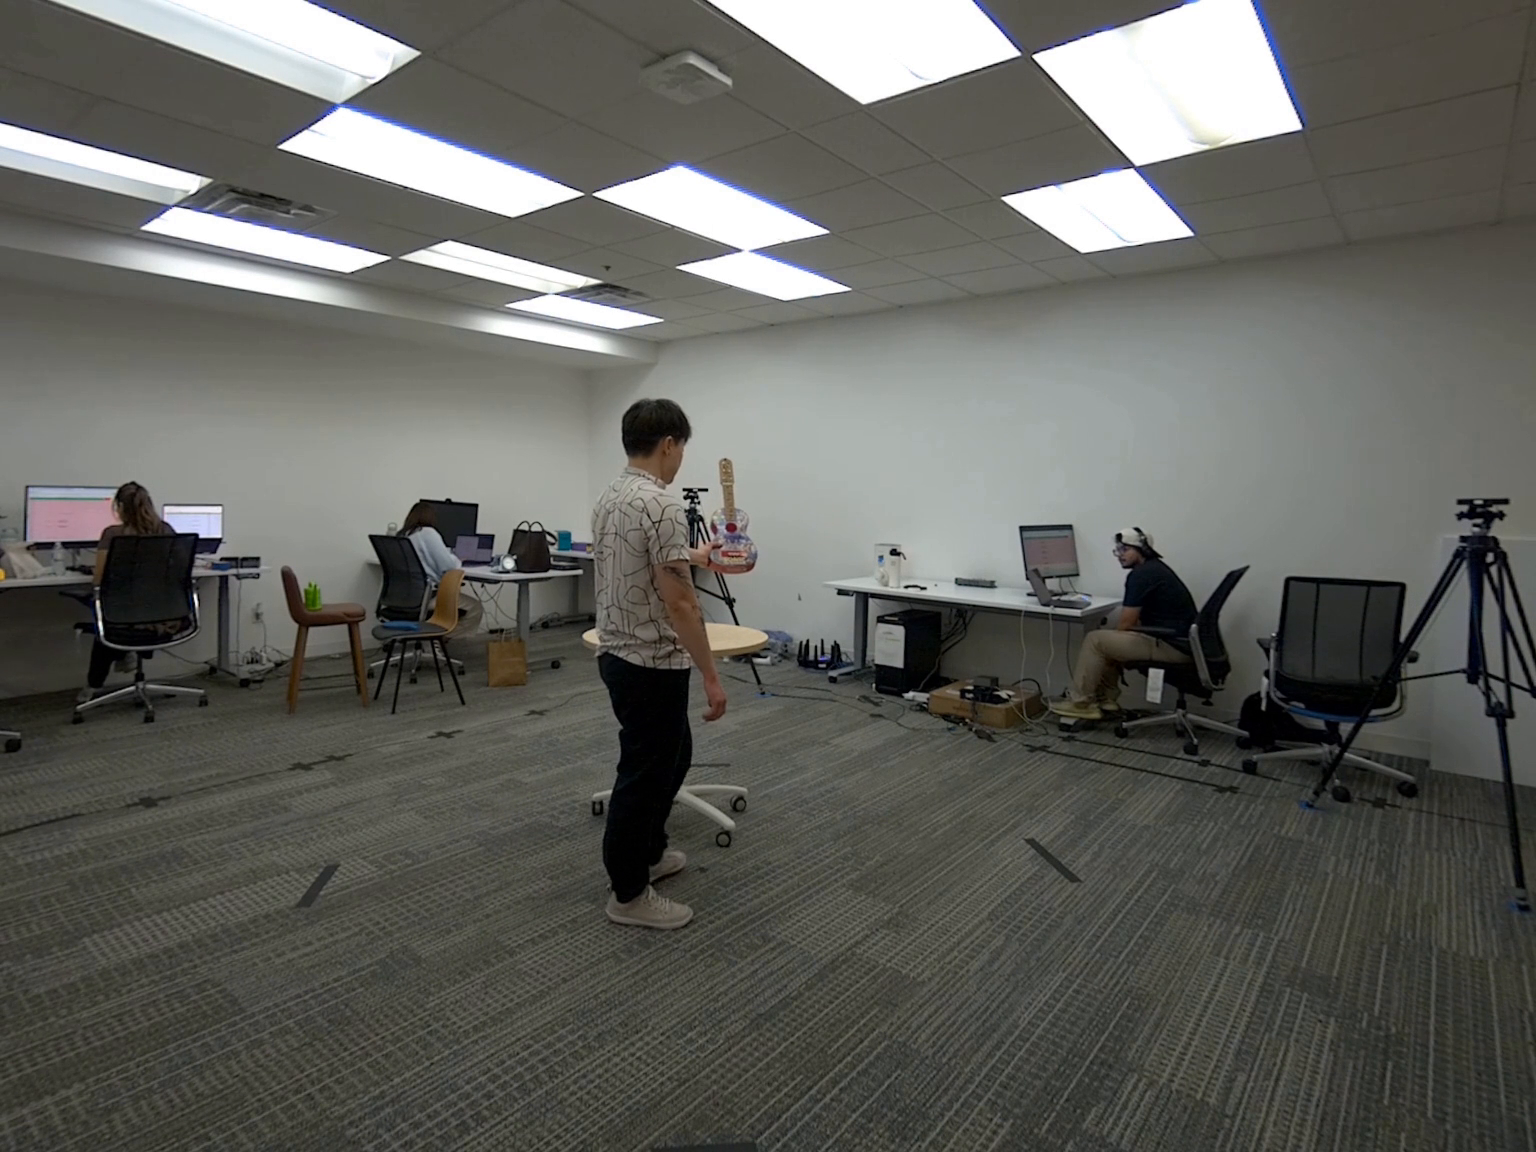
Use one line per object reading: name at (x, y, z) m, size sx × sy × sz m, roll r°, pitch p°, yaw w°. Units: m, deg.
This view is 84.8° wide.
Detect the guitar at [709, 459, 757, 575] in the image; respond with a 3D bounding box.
guitar at (-0.133, -0.250, 3.406) m, size 0.192 × 0.509 × 0.069 m, roll 6°, pitch -30°, yaw -3°
